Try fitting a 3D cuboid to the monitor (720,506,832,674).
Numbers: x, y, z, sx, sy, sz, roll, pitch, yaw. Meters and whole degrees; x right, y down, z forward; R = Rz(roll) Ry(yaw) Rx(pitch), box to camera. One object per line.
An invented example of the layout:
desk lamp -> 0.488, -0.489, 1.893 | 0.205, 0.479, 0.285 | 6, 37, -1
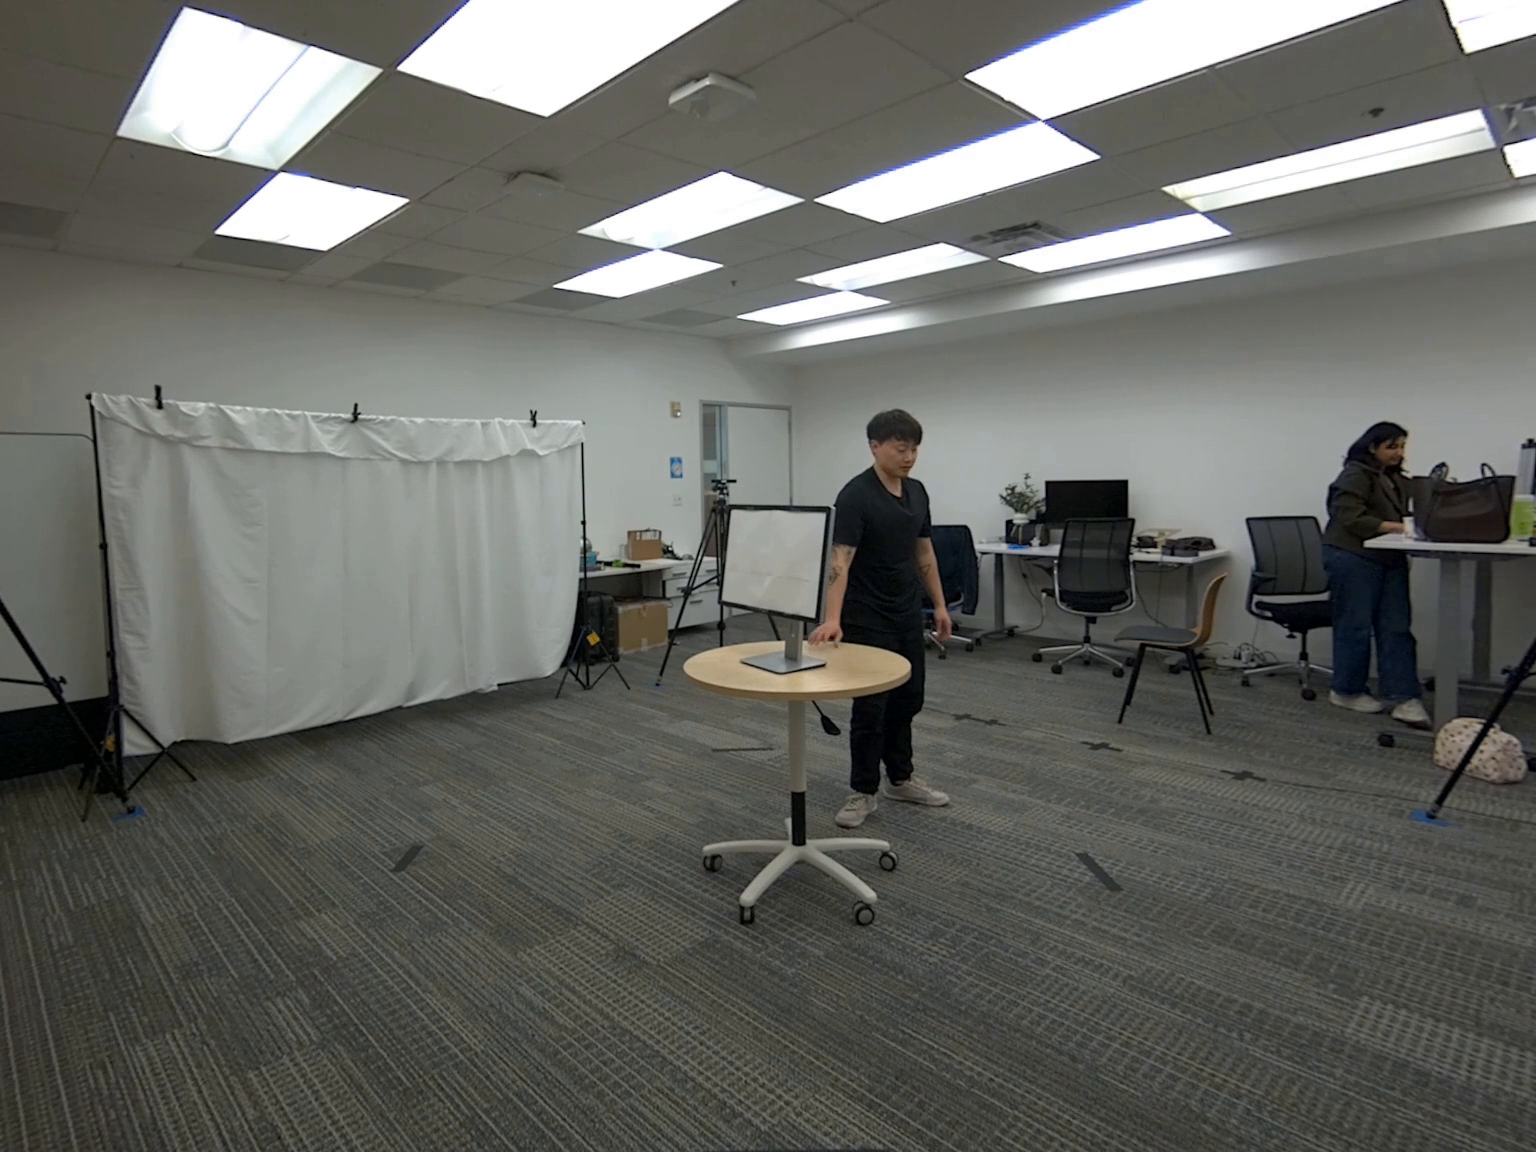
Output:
monitor -> 0.048, 0.038, 2.879 | 0.182, 0.520, 0.555 | -6, 6, -37
